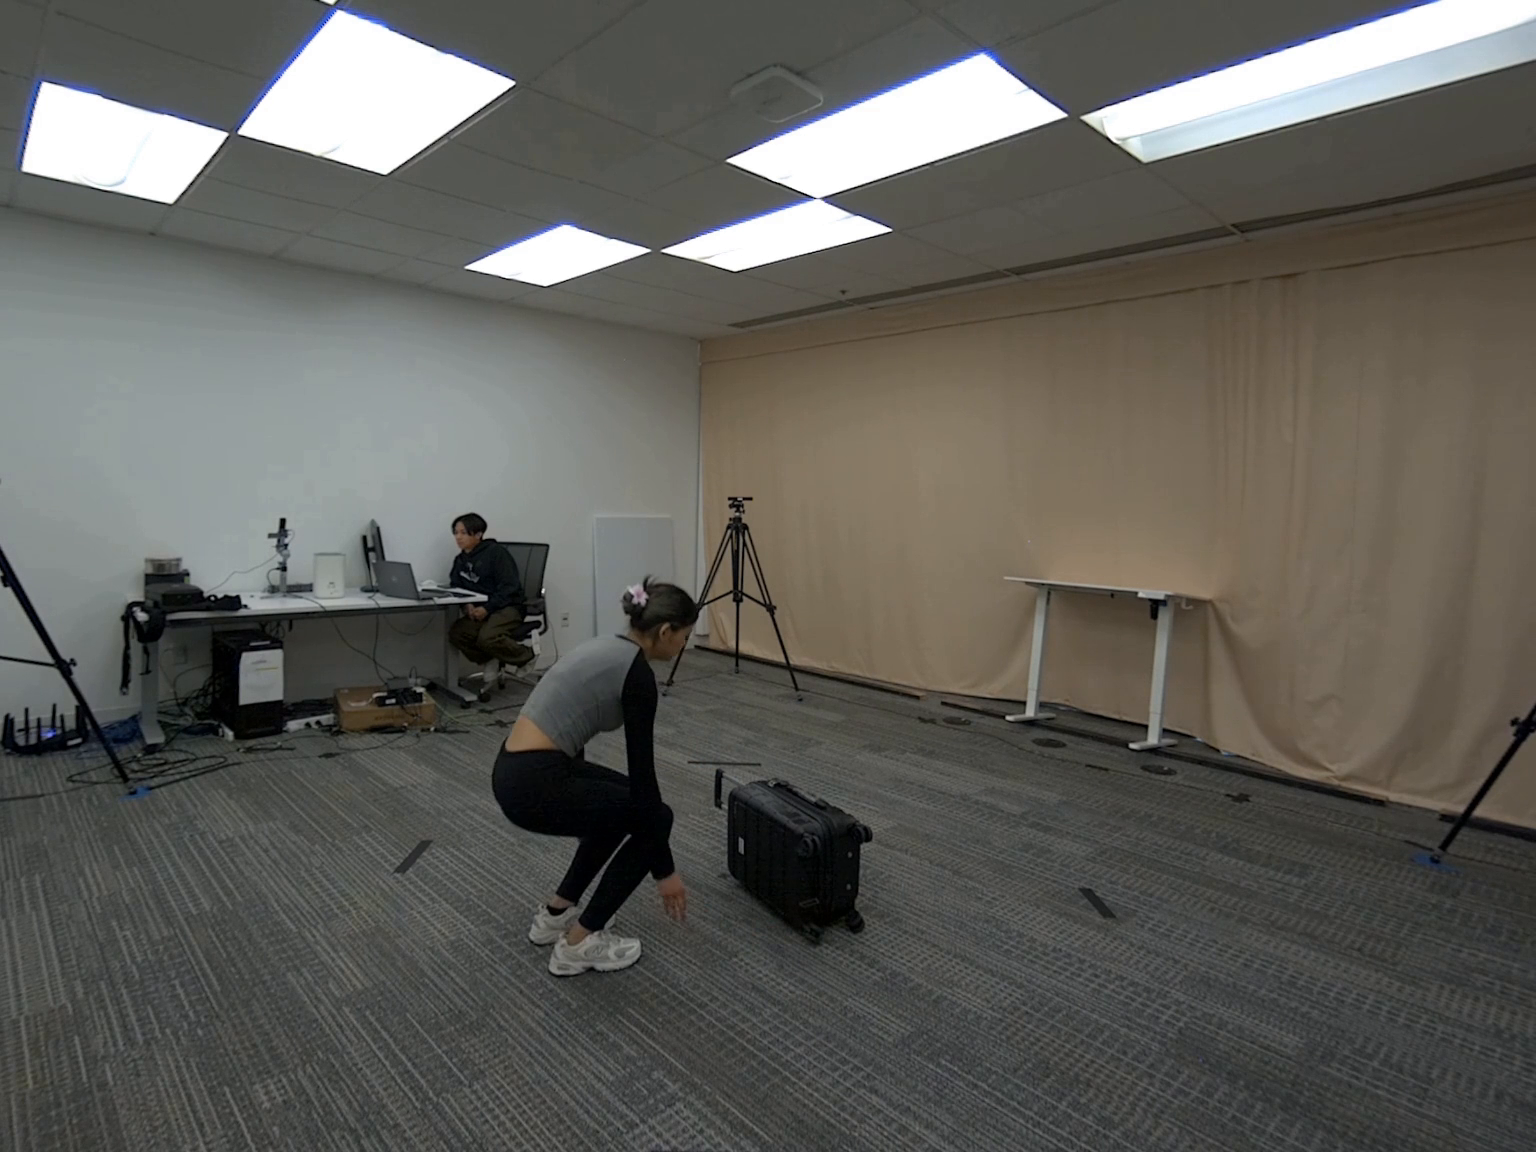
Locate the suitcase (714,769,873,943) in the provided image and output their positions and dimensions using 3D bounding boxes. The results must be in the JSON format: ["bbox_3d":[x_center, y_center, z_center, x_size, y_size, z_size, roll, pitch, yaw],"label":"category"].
[{"bbox_3d":[-0.044,0.922,3.072,0.251,0.383,1.002,0,5,-33],"label":"suitcase"}]
